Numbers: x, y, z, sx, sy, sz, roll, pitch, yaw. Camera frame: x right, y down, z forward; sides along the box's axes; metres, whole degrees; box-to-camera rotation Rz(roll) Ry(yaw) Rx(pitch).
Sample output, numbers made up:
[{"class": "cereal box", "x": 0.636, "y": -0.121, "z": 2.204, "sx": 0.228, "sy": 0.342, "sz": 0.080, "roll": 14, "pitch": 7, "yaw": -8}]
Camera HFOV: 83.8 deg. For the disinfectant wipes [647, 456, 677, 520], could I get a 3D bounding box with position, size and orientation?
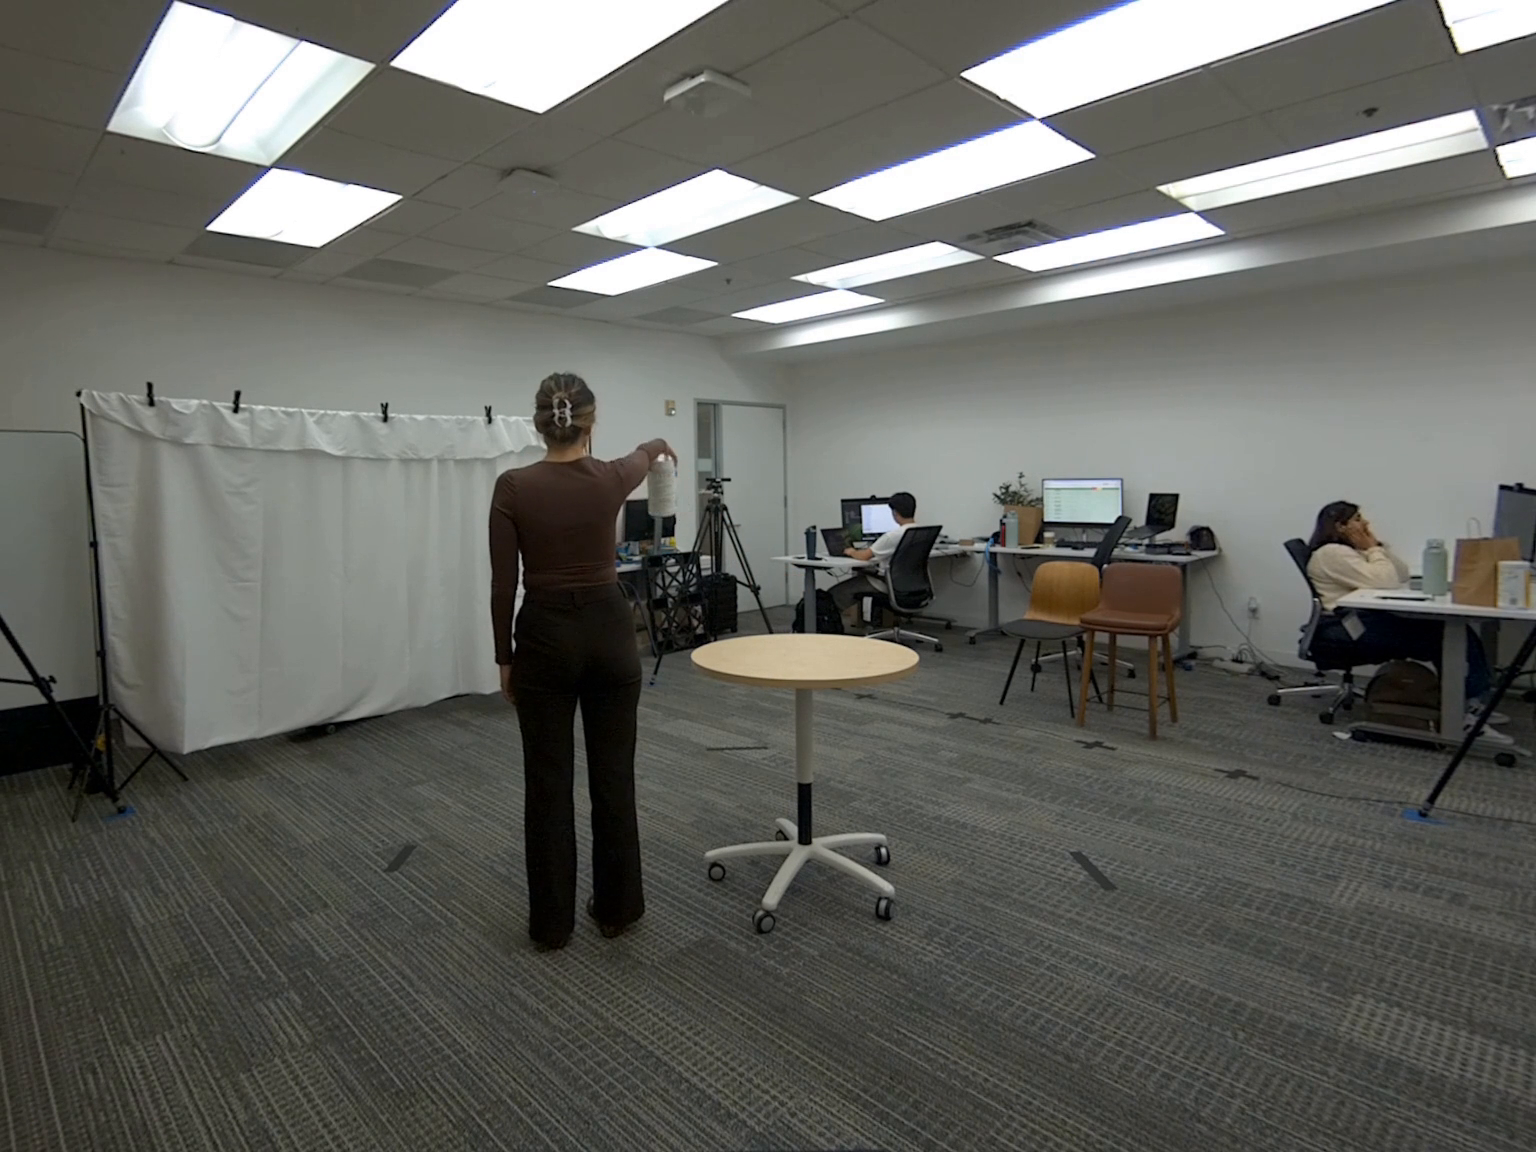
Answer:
[{"class": "disinfectant wipes", "x": -0.398, "y": -0.335, "z": 3.234, "sx": 0.118, "sy": 0.214, "sz": 0.119, "roll": 0, "pitch": 16, "yaw": -2}]
